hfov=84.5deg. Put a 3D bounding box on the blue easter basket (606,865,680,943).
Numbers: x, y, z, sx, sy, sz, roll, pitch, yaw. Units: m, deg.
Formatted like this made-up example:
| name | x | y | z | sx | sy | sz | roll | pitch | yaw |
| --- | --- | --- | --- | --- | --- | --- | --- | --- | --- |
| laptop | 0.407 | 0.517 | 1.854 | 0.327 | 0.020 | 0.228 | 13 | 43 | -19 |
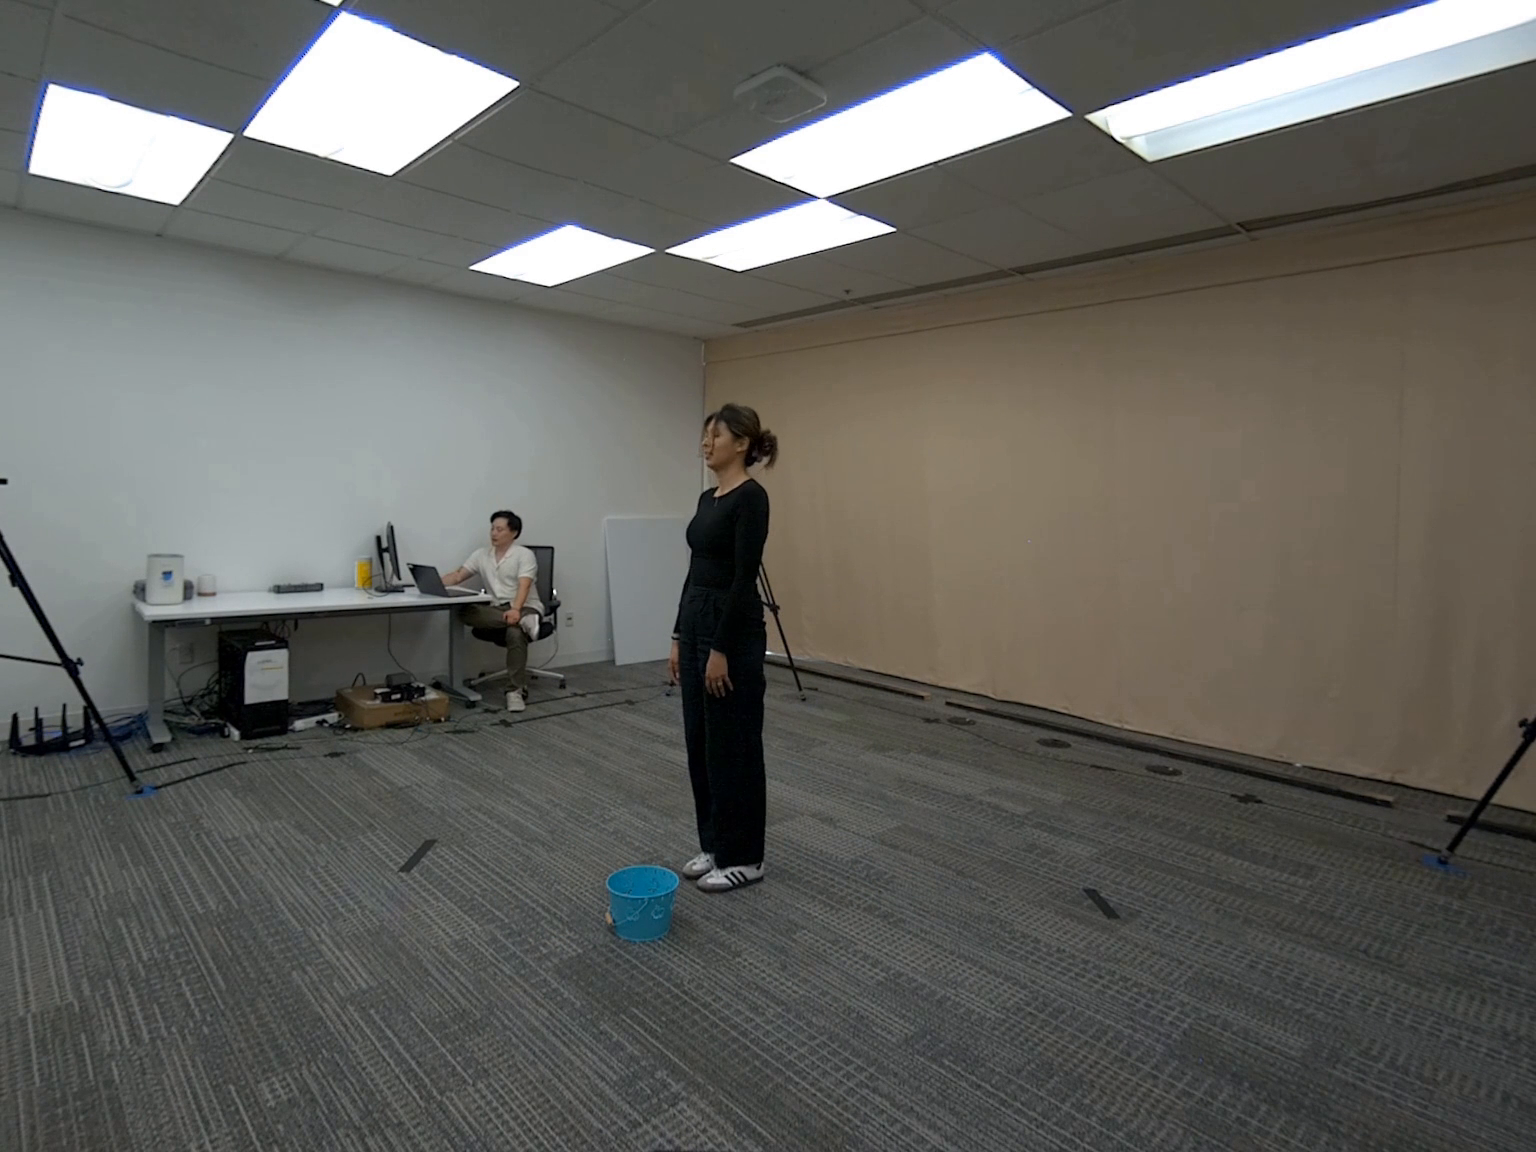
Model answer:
| name | x | y | z | sx | sy | sz | roll | pitch | yaw |
| --- | --- | --- | --- | --- | --- | --- | --- | --- | --- |
| blue easter basket | -0.417 | 1.060 | 2.718 | 0.243 | 0.155 | 0.244 | 2 | 4 | -1 |
